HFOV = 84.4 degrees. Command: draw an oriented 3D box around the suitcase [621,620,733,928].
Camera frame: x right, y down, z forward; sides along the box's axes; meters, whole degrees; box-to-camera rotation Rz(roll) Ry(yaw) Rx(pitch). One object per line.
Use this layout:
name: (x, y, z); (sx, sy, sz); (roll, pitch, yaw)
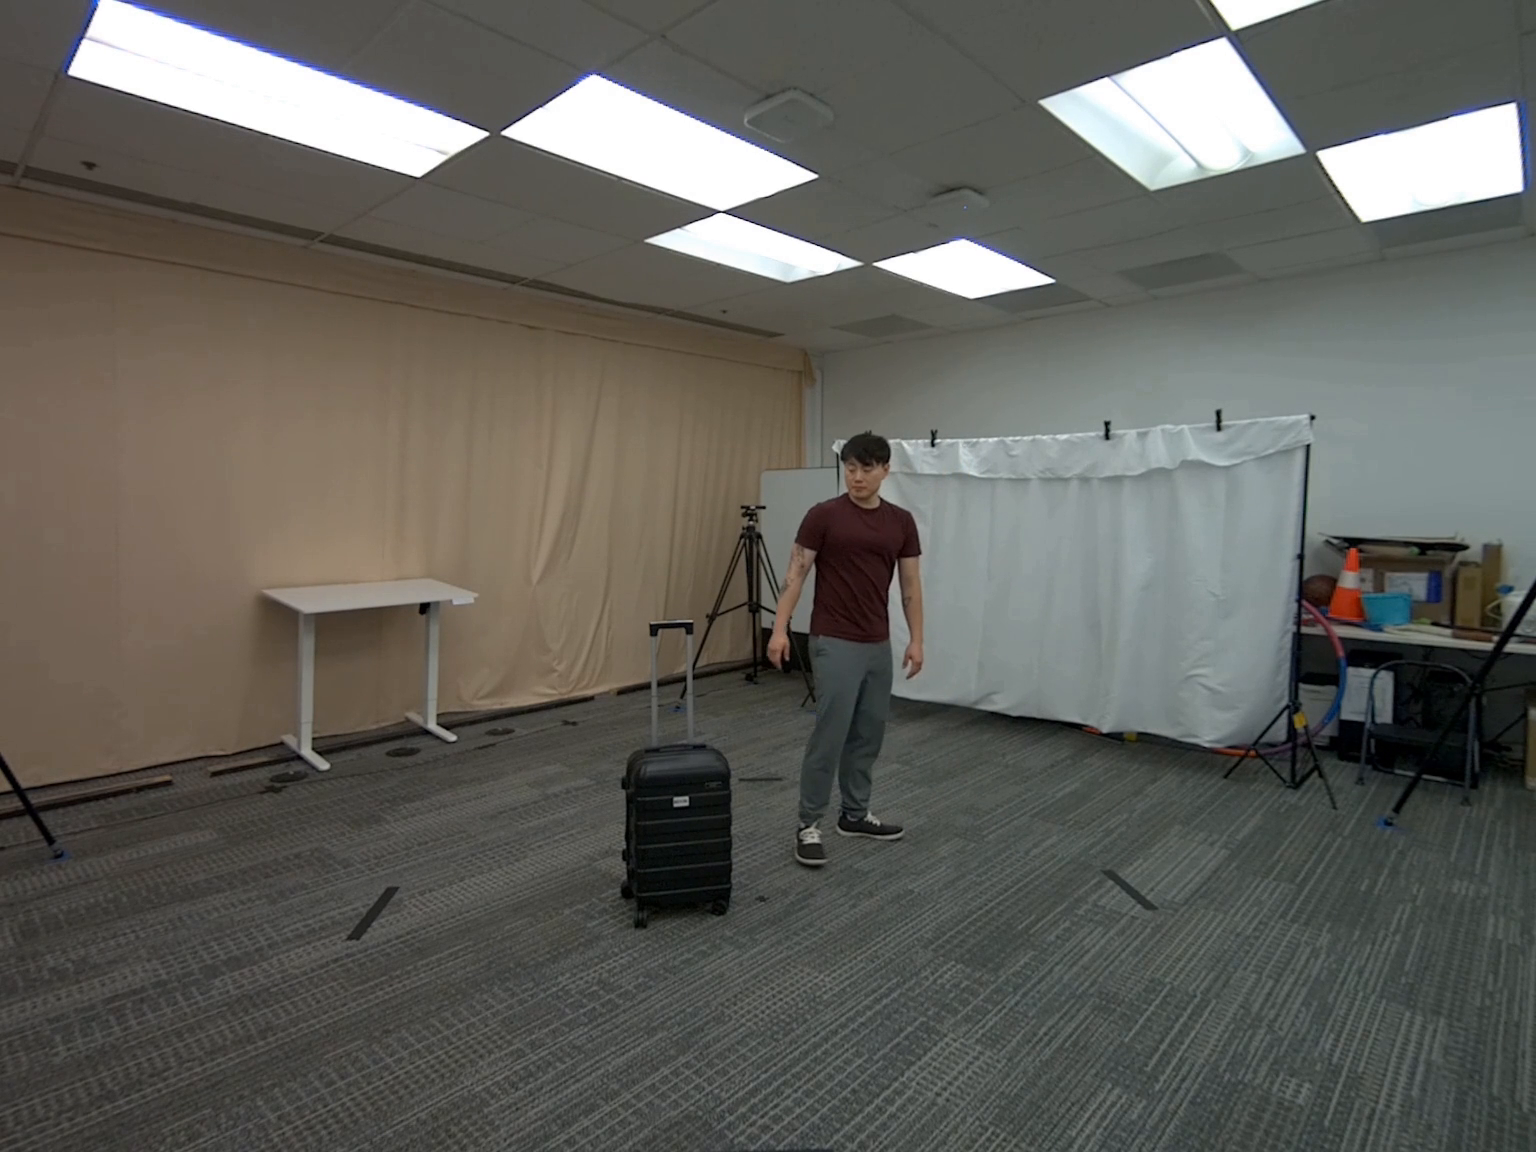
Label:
suitcase: (-0.312, 0.671, 2.920); (0.379, 0.975, 0.261); (-1, 5, -12)
